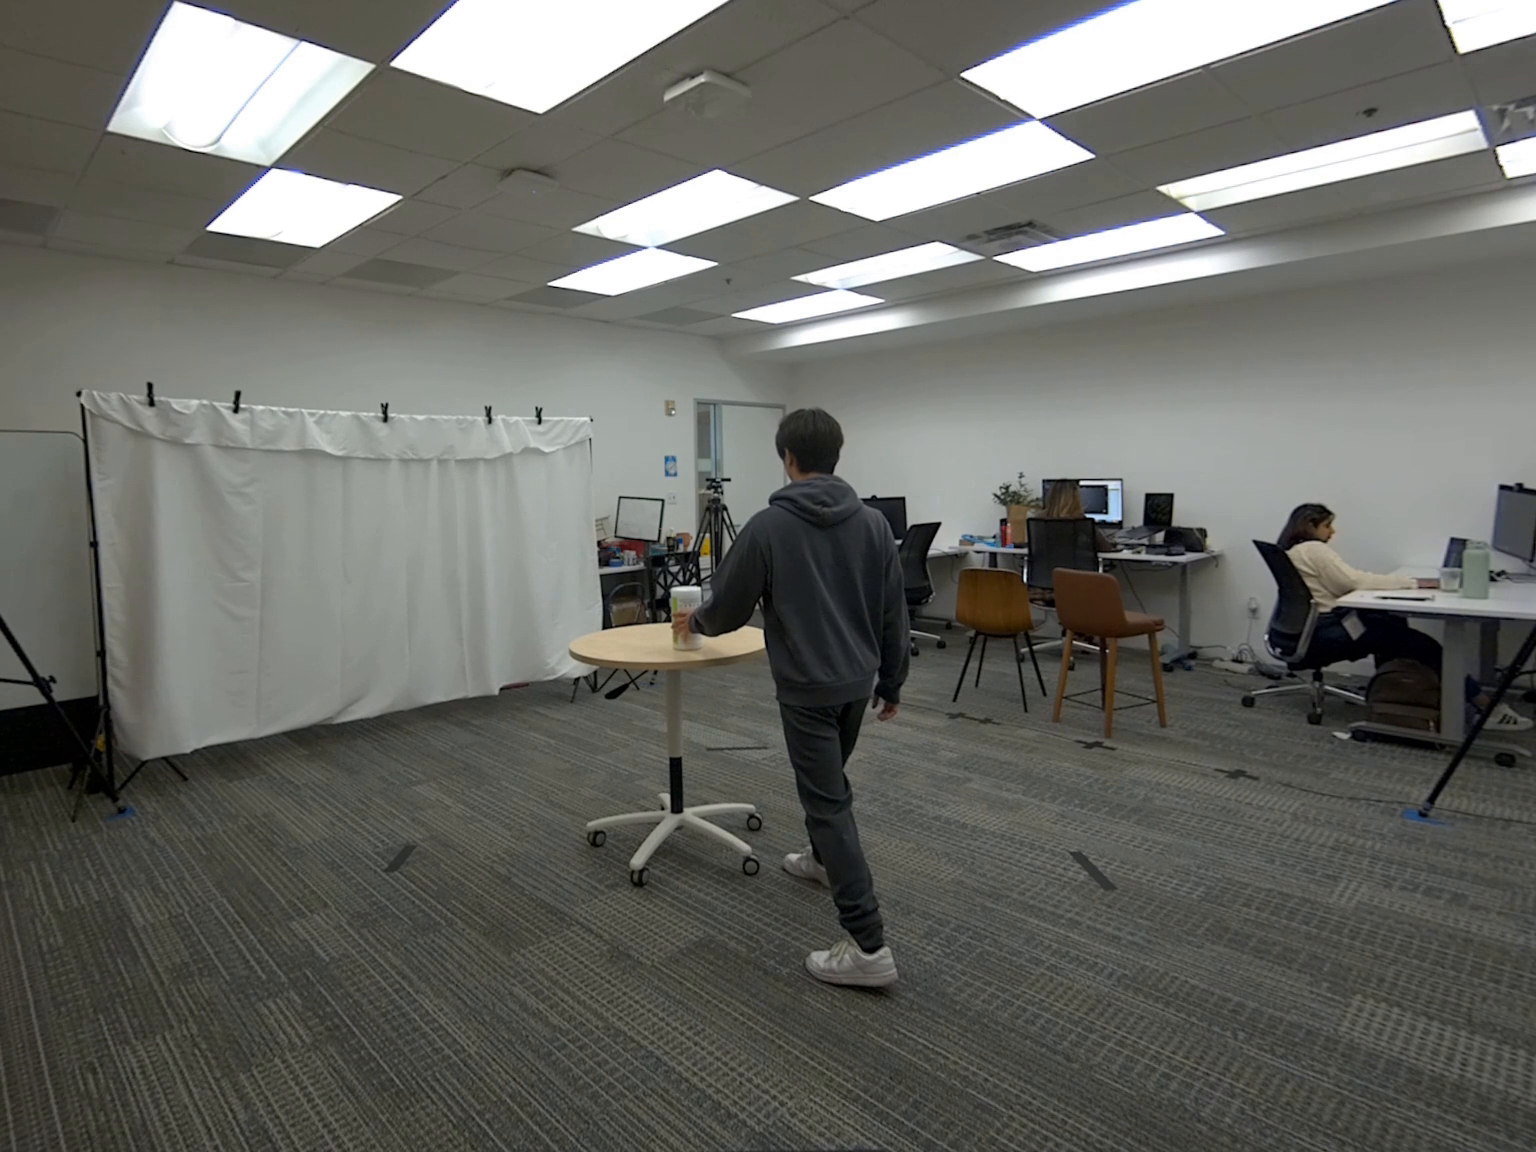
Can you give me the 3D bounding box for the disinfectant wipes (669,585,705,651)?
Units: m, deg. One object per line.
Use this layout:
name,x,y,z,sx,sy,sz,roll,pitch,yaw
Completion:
disinfectant wipes,-0.282,0.151,3.036,0.118,0.217,0.118,-1,3,-2
